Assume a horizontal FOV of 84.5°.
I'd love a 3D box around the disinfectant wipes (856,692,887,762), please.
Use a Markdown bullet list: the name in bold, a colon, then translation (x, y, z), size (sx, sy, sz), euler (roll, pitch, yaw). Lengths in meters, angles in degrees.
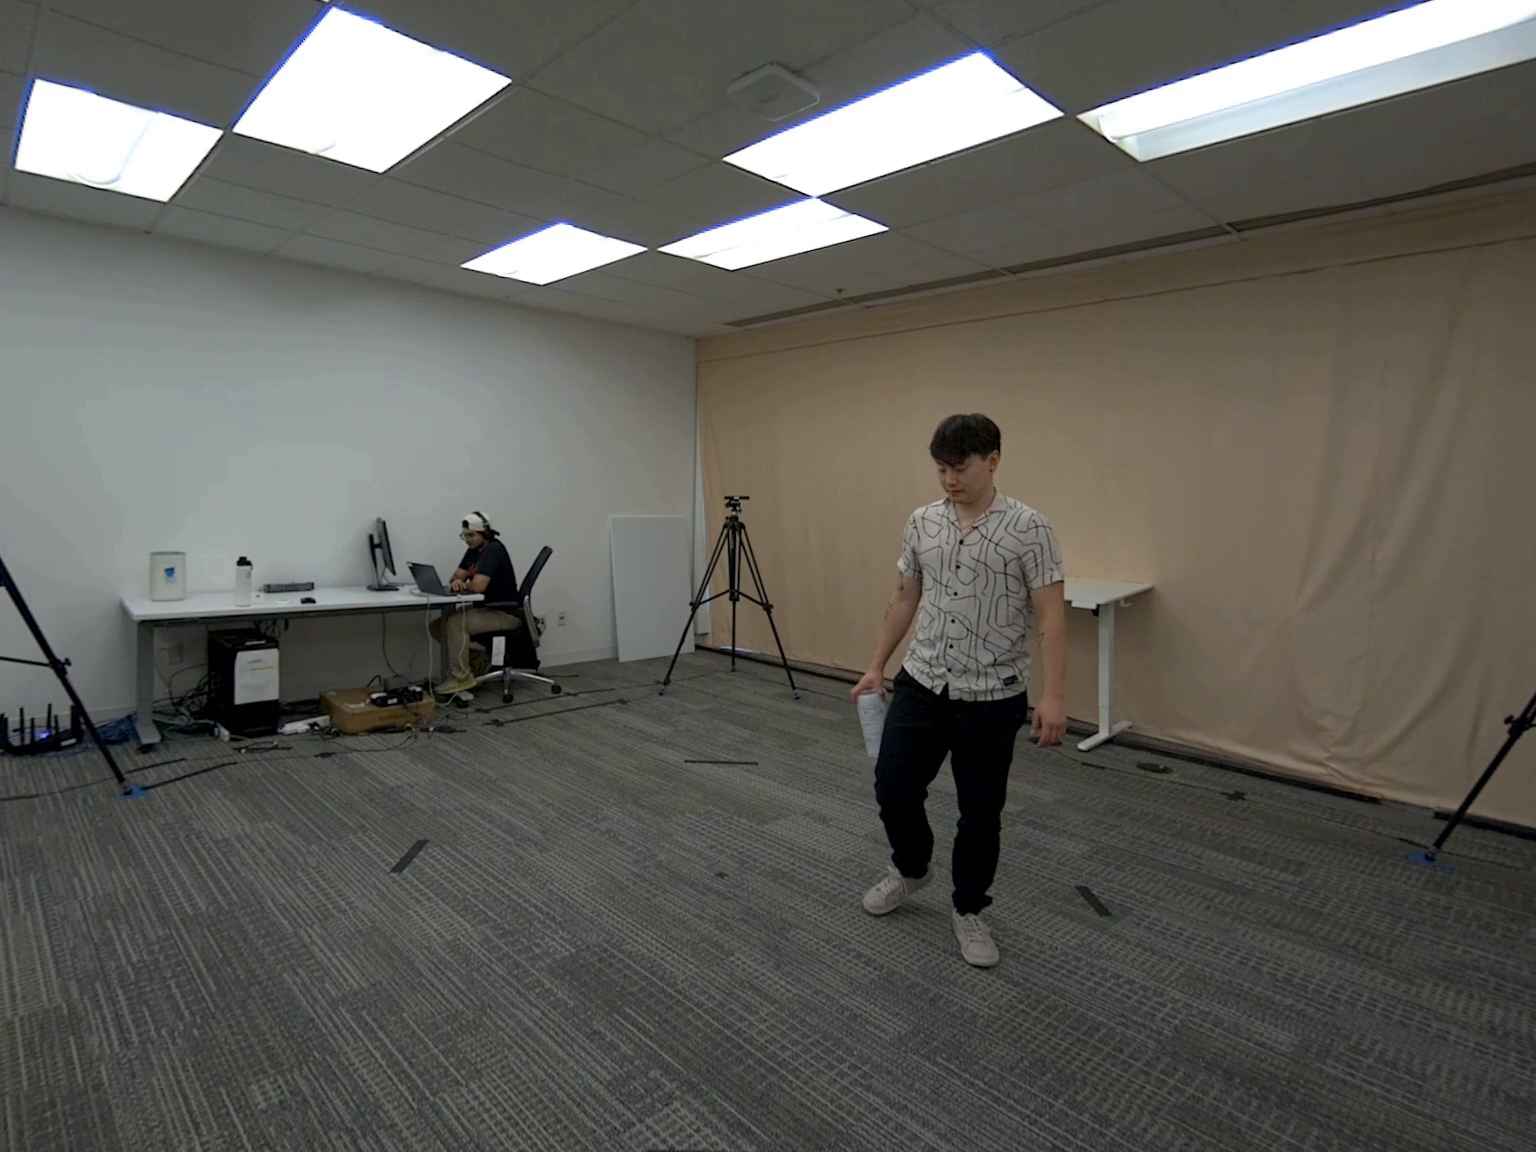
- **disinfectant wipes**: translation (0.366, 0.502, 2.845), size (0.118, 0.217, 0.118), euler (-10, 0, -1)
